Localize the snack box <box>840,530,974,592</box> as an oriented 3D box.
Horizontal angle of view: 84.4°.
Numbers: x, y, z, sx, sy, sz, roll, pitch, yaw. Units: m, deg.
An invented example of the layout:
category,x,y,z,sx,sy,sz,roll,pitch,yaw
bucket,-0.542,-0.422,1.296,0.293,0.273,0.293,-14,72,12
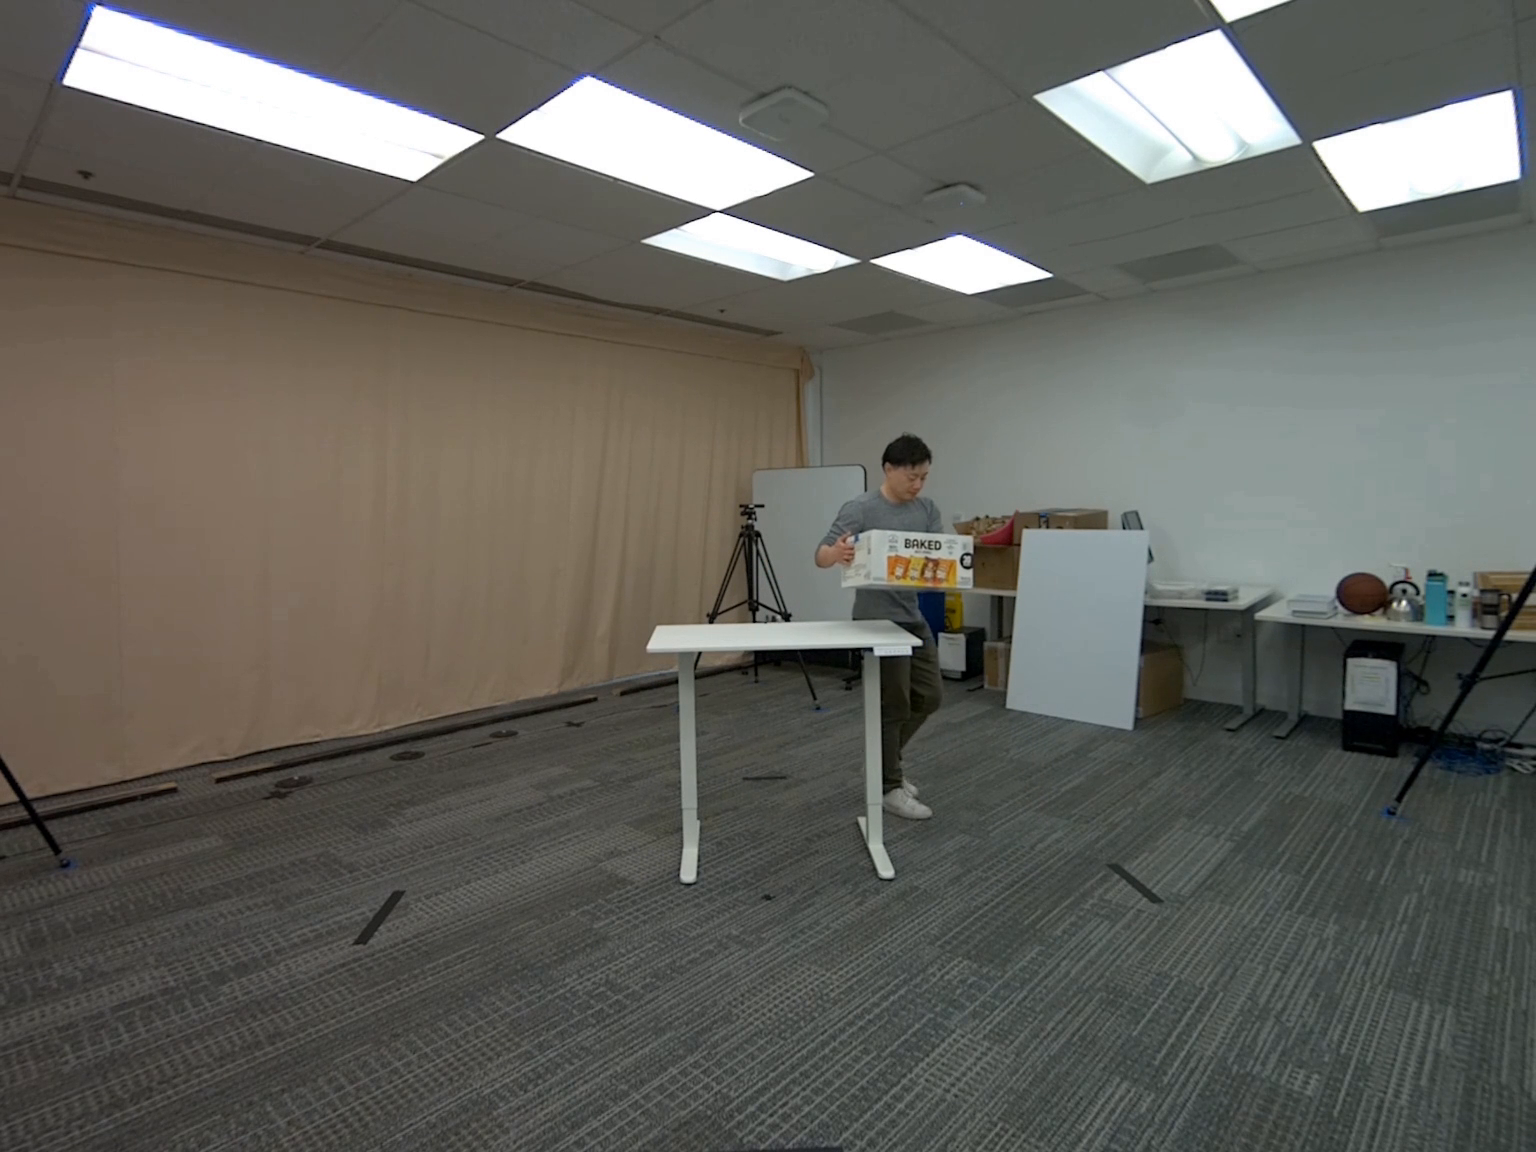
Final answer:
category,x,y,z,sx,sy,sz,roll,pitch,yaw
snack box,0.539,-0.047,3.314,0.400,0.206,0.343,2,-5,-12
